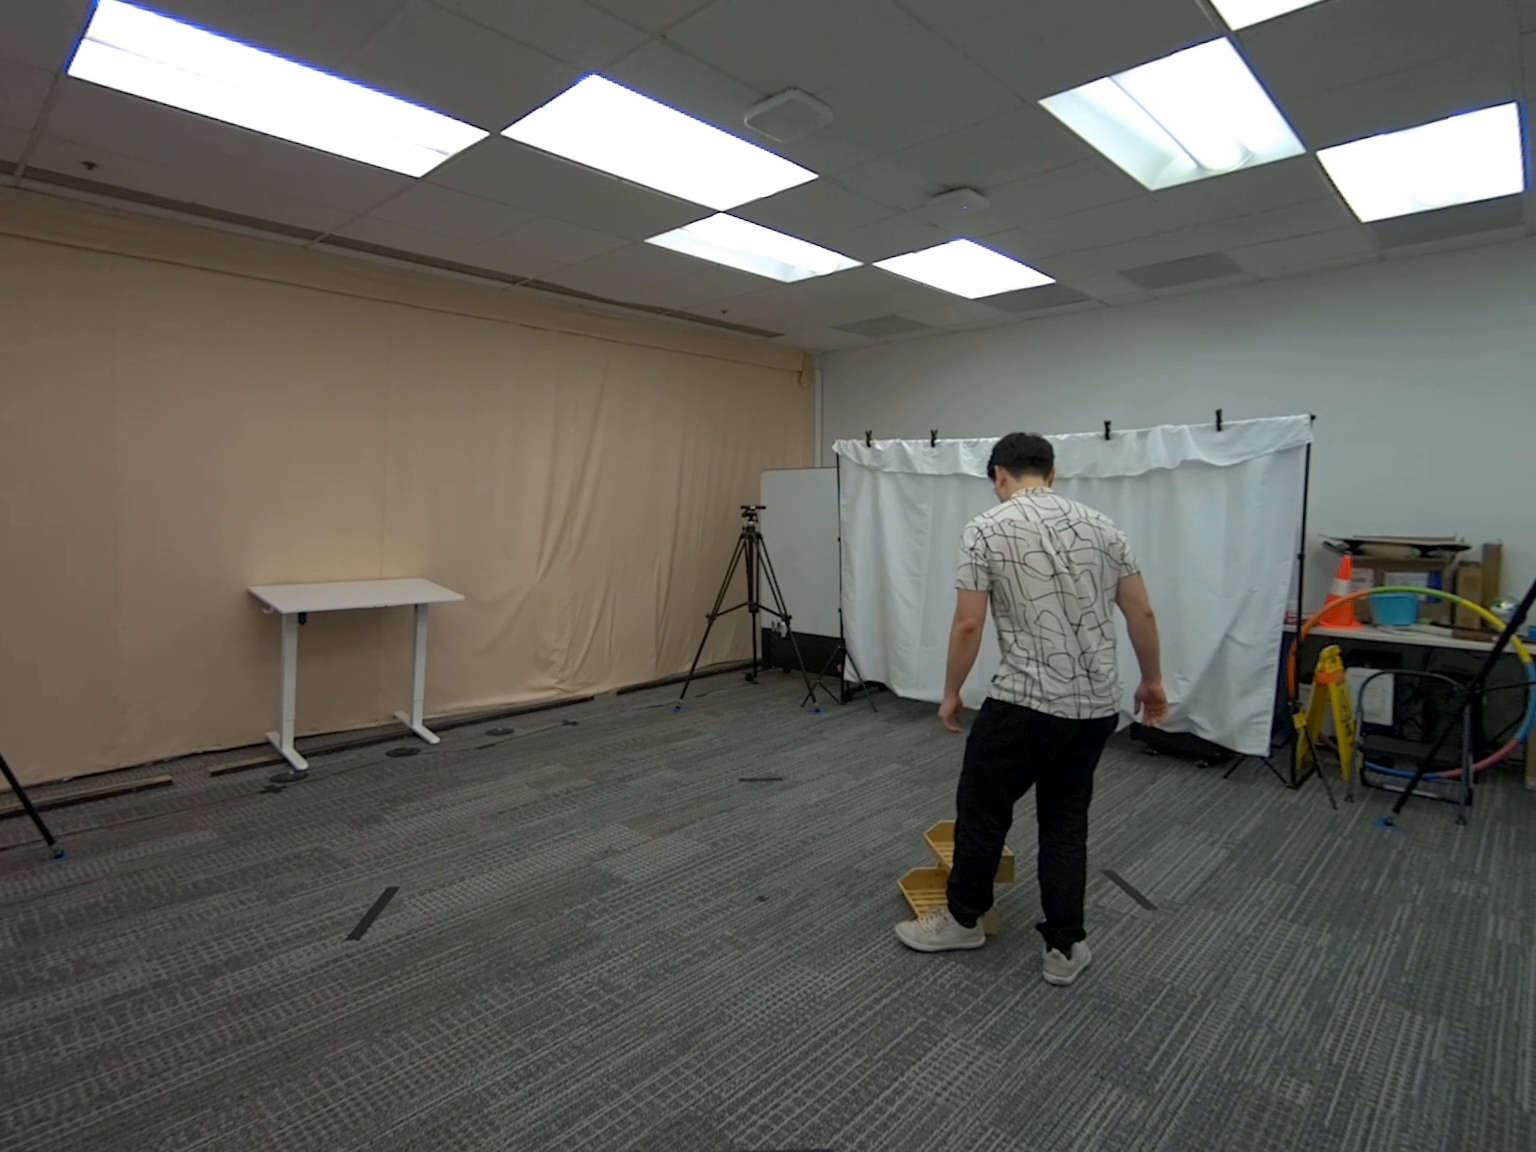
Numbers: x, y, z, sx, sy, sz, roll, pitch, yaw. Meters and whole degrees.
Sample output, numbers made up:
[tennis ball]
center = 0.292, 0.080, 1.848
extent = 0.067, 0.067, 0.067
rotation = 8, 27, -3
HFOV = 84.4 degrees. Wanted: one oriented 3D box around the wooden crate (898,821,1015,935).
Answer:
[wooden crate]
center = 0.629, 1.015, 2.854
extent = 0.300, 0.273, 0.327
rotation = 0, 4, -7
